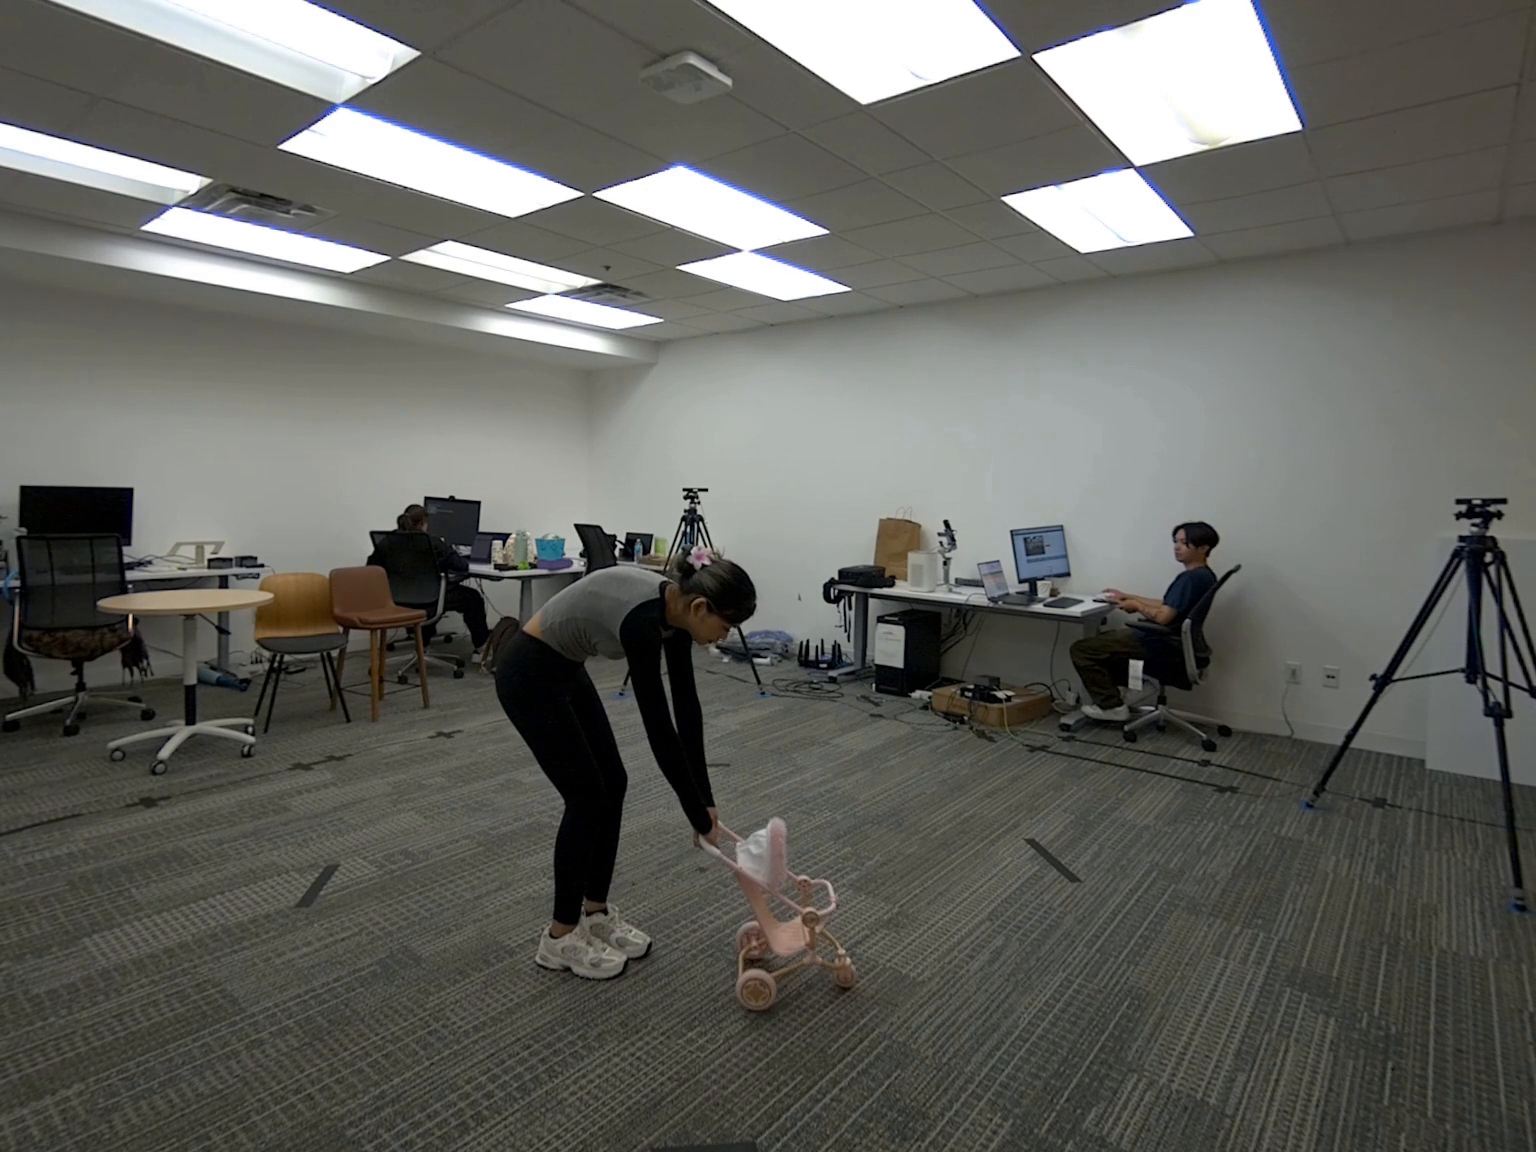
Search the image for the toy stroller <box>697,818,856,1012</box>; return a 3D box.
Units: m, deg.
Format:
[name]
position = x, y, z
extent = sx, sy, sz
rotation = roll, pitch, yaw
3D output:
[toy stroller]
position = 0.023, 0.923, 2.379
extent = 0.343, 0.534, 0.281
rotation = -12, 2, 5
